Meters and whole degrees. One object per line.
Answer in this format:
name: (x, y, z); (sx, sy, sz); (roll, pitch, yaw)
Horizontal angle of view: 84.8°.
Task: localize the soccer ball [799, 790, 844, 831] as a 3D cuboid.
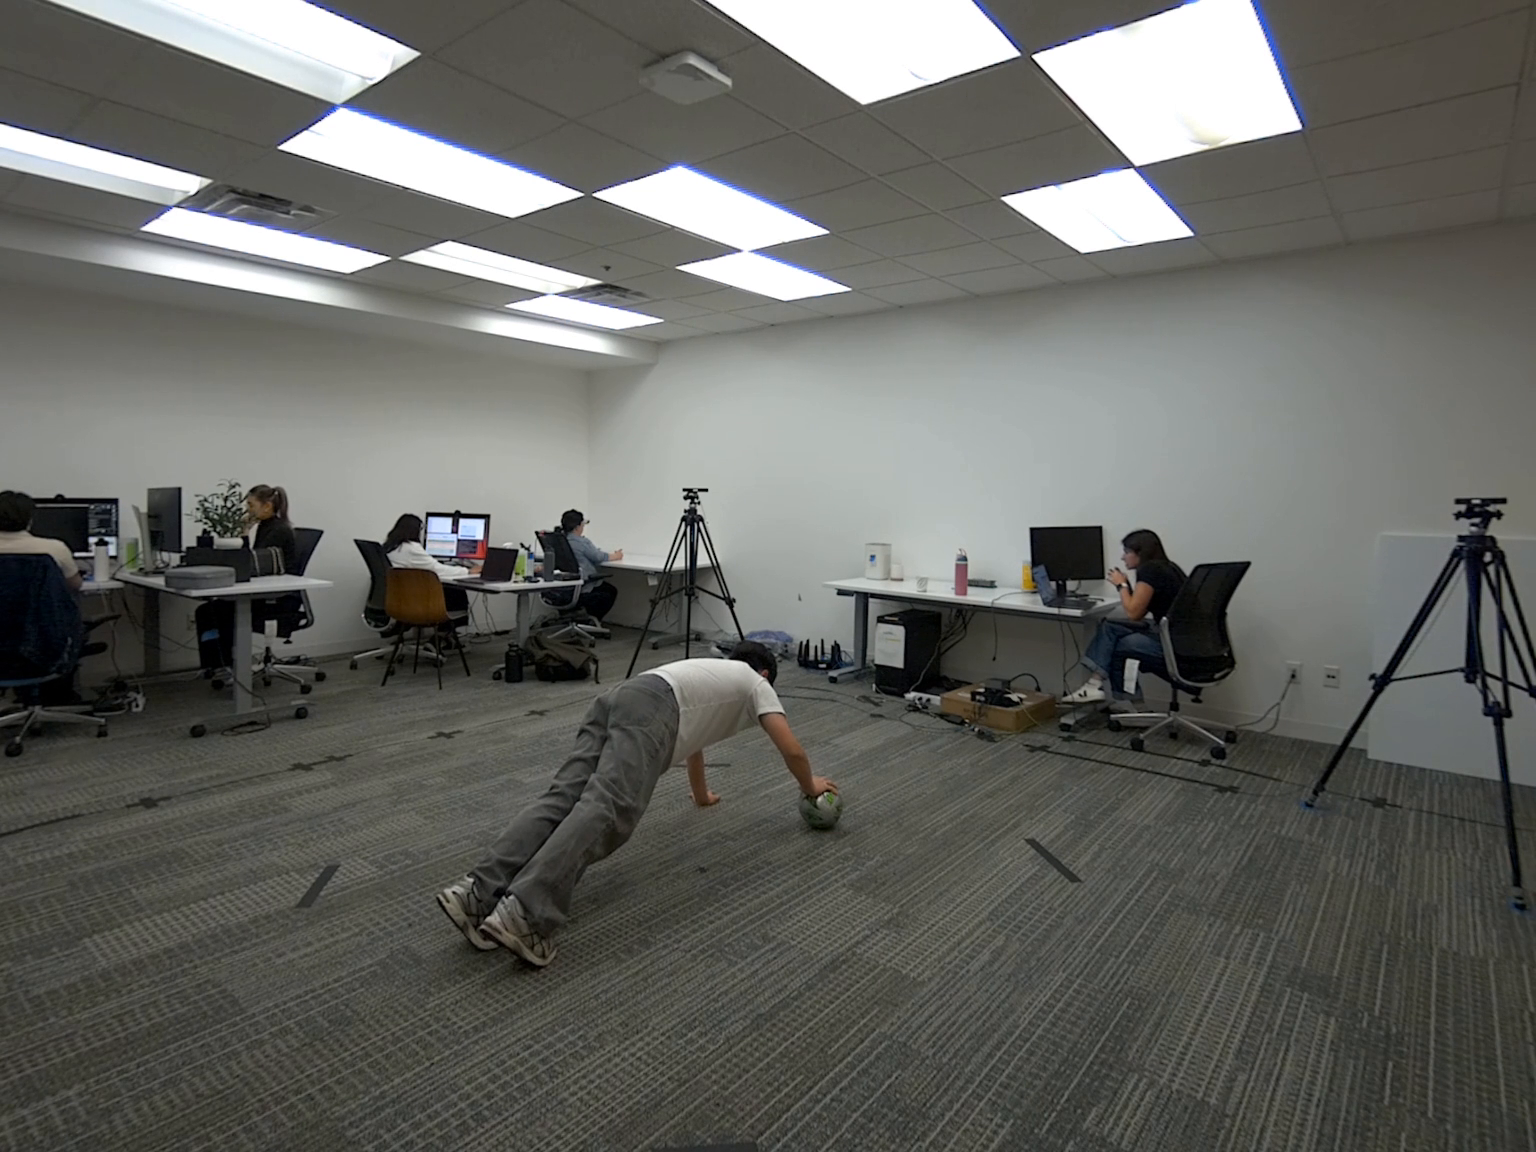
soccer ball: (0.218, 0.942, 3.538); (0.187, 0.187, 0.188); (1, 4, -2)
